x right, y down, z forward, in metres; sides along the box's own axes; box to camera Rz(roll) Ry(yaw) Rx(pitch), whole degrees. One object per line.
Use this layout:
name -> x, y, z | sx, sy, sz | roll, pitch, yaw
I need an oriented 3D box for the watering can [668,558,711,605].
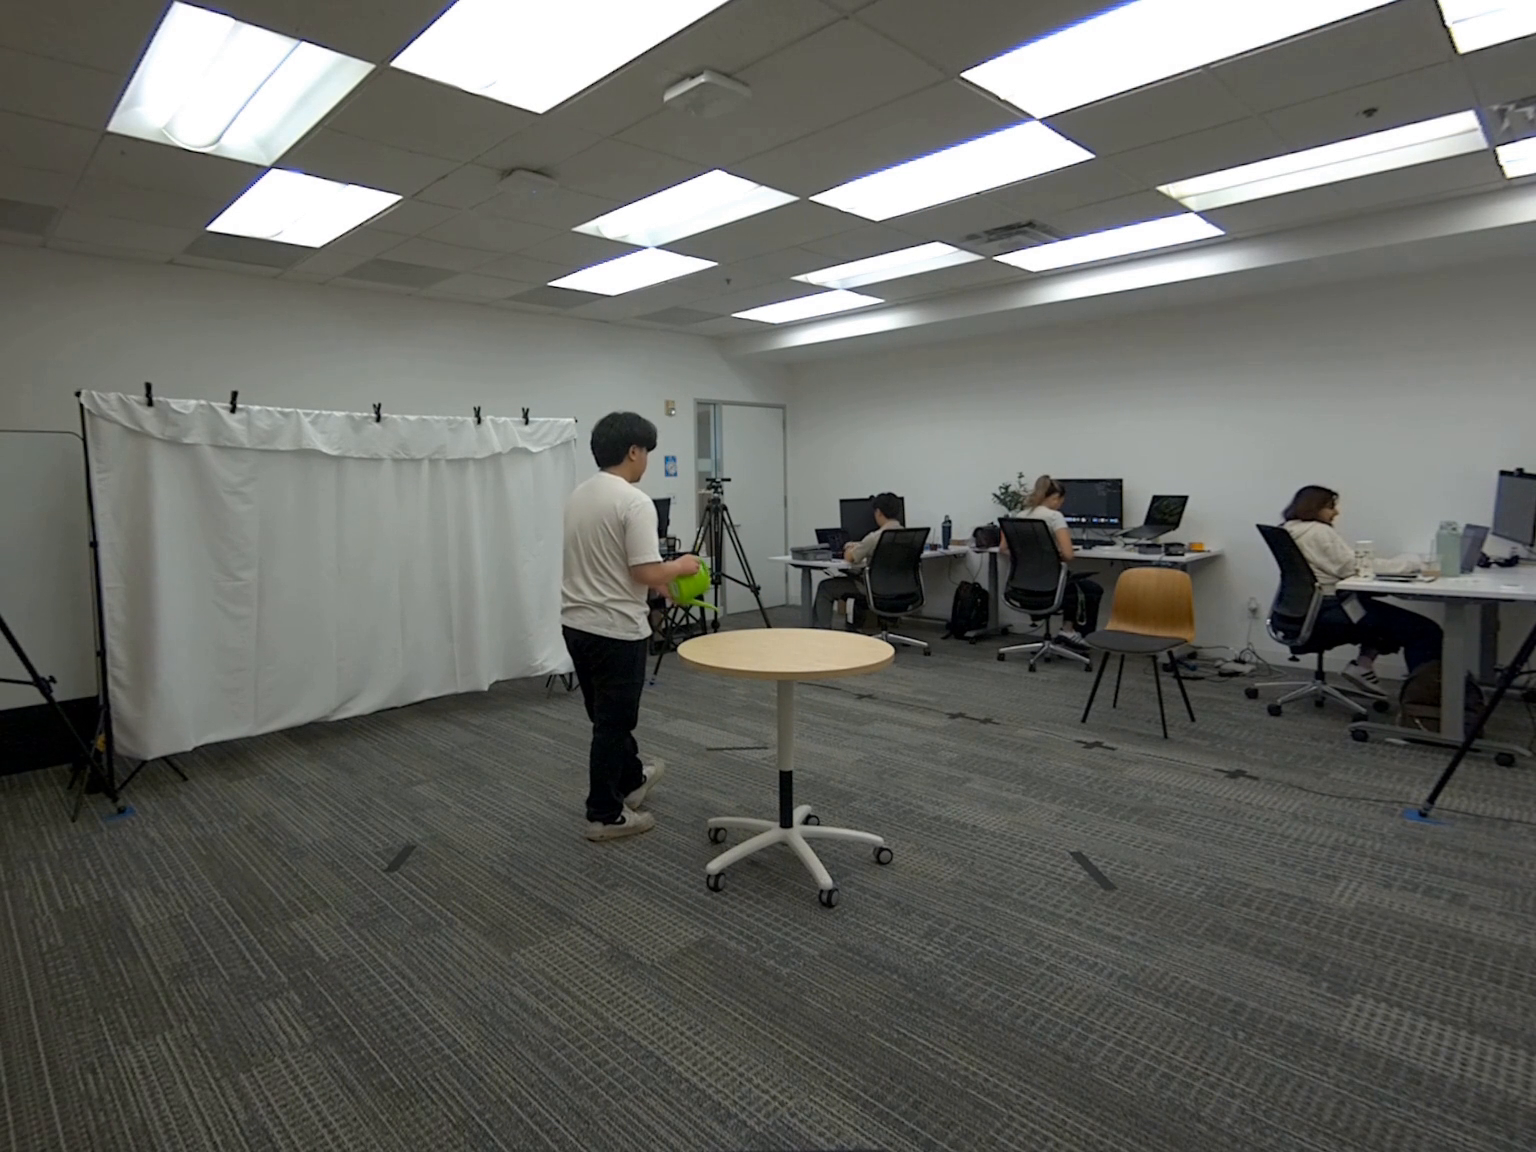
watering can -> -0.295, 0.062, 3.492 | 0.174, 0.276, 0.100 | -26, 7, -33
